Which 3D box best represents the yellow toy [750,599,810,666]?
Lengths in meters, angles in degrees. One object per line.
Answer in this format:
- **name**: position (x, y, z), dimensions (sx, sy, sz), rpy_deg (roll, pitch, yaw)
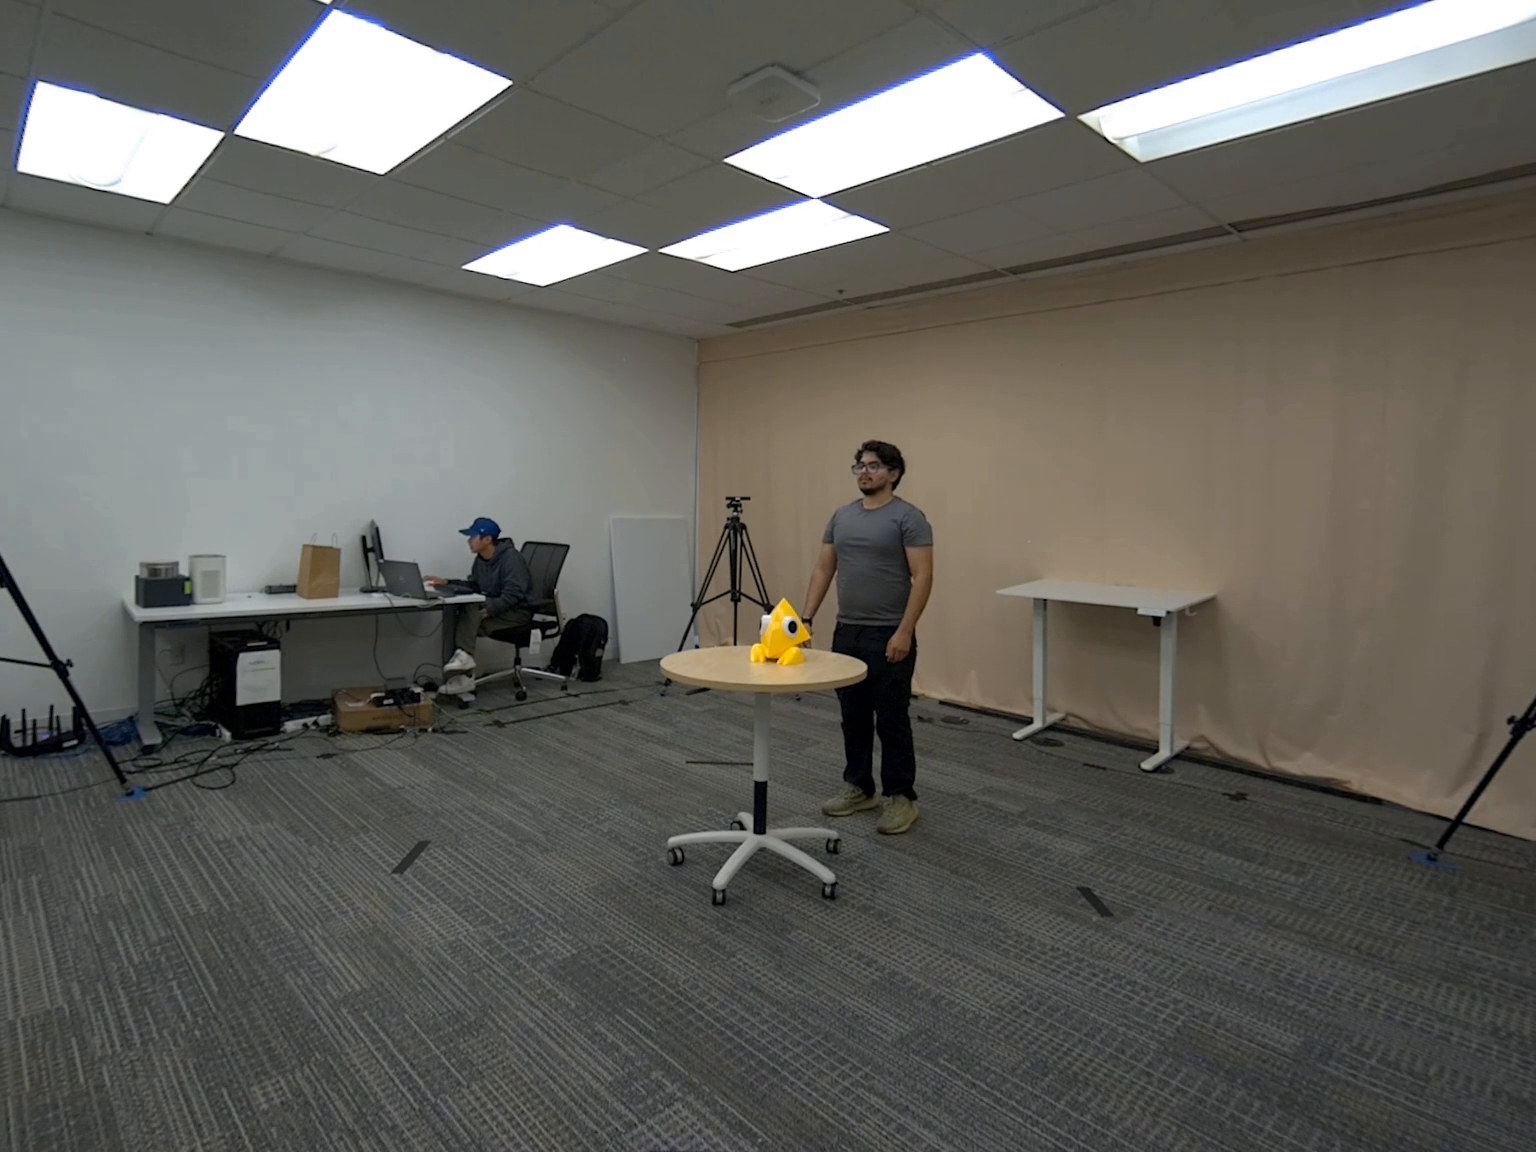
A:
- **yellow toy**: position (0.022, 0.205, 3.191), dimensions (0.208, 0.230, 0.190), rpy_deg (2, 3, 23)
